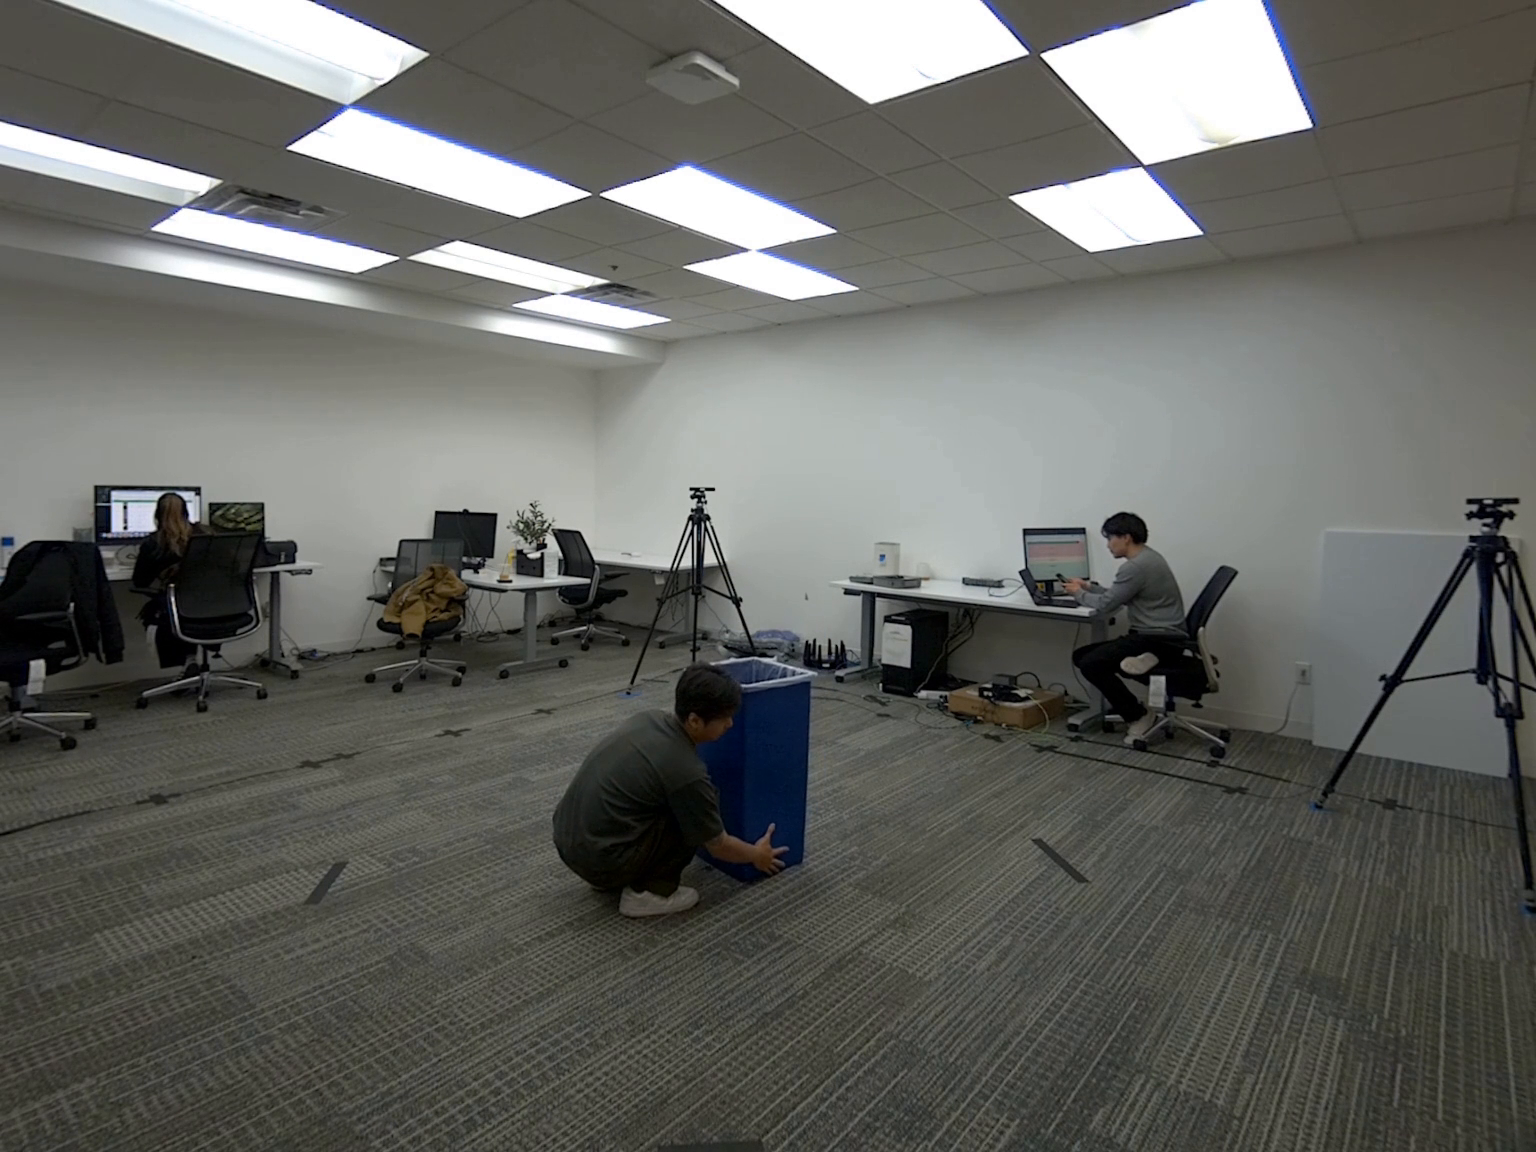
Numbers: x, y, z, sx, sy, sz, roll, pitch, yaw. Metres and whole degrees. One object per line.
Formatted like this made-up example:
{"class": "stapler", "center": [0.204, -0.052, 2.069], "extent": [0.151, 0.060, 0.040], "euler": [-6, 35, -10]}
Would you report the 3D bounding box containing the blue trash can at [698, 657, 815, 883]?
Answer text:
{"class": "blue trash can", "center": [-0.081, 0.699, 3.192], "extent": [0.367, 0.711, 0.387], "euler": [-2, 5, -39]}
